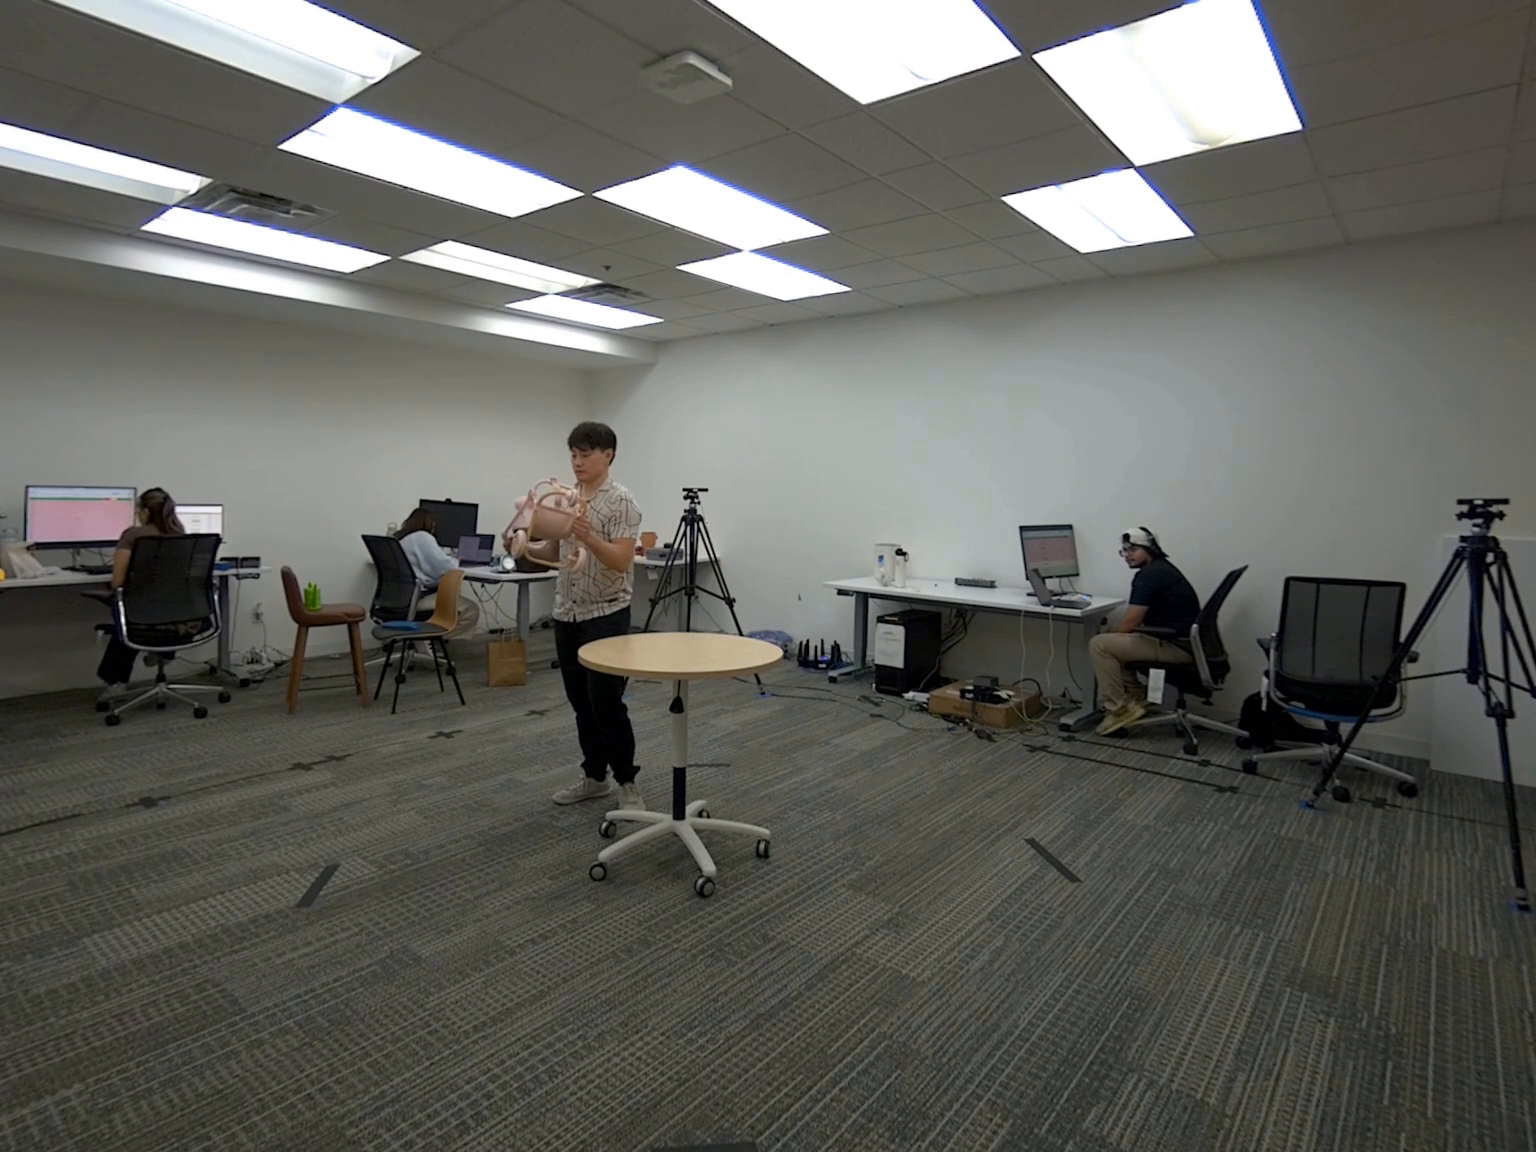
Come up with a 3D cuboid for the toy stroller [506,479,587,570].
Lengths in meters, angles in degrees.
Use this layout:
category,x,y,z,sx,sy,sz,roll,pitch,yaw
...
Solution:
category,x,y,z,sx,sy,sz,roll,pitch,yaw
toy stroller,-0.903,-0.230,3.450,0.273,0.340,0.554,12,7,-29
